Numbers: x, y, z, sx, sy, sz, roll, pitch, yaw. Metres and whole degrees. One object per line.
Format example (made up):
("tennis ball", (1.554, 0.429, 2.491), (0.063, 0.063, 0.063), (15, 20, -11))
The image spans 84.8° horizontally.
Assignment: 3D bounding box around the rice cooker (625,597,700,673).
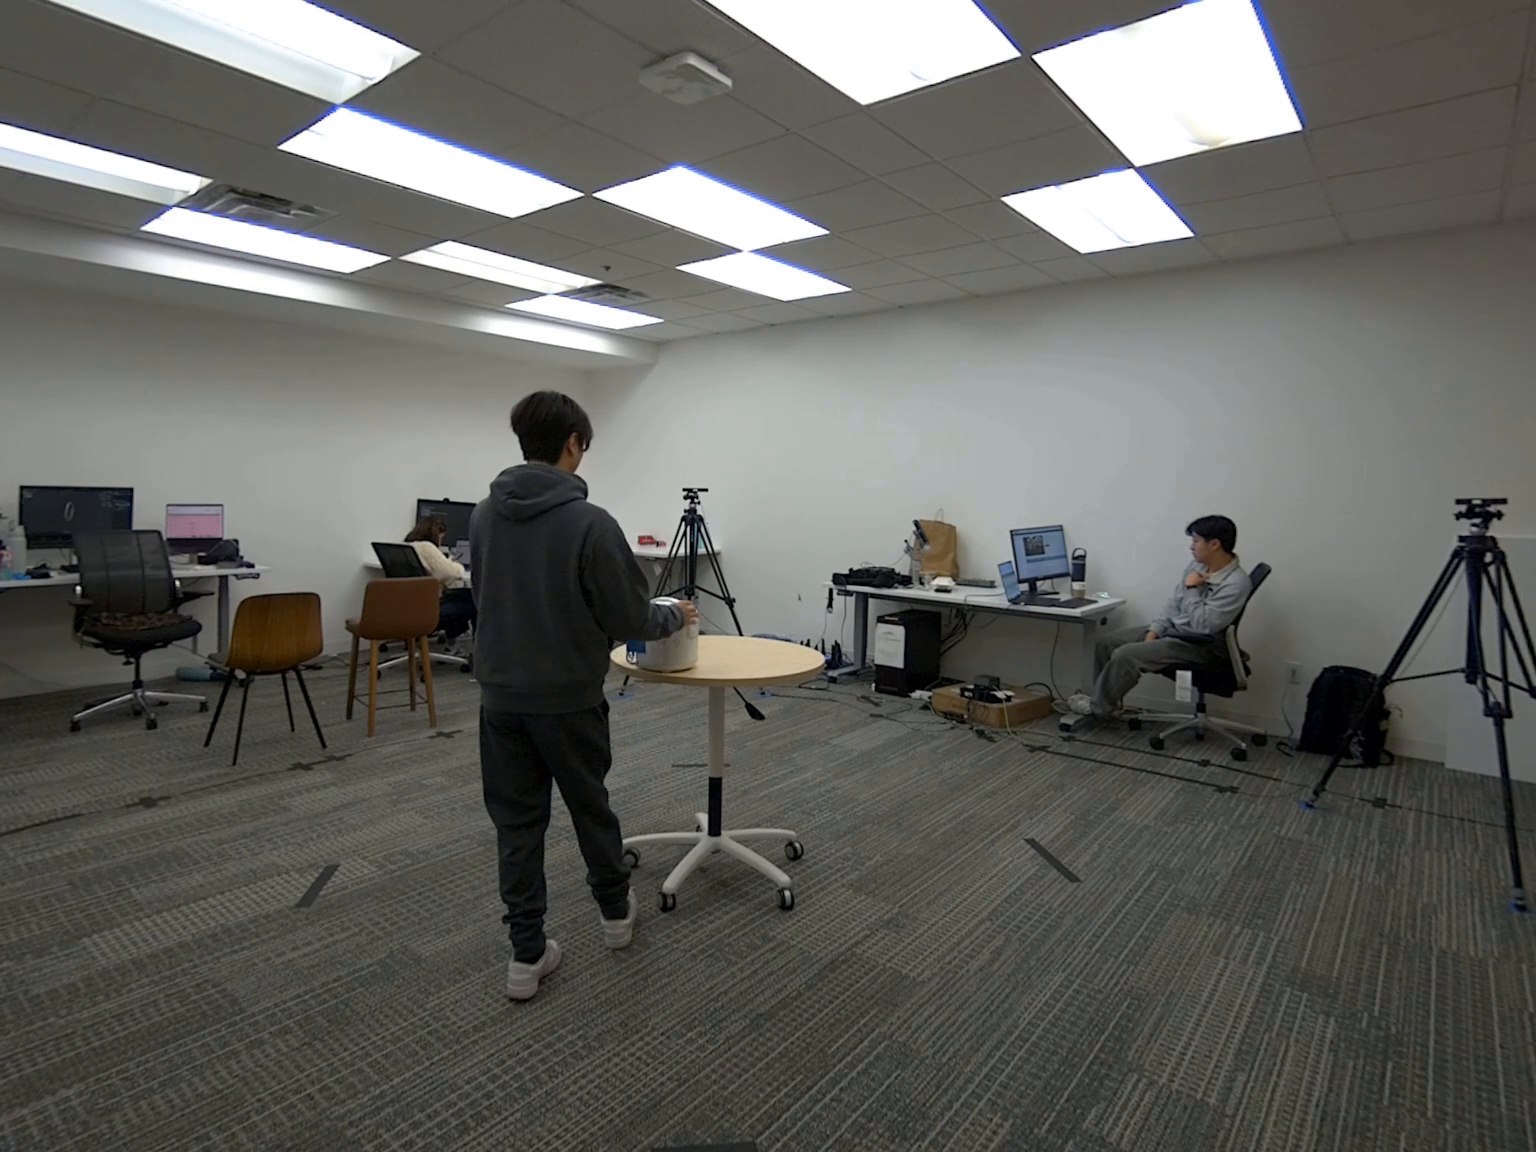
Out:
("rice cooker", (-0.343, 0.186, 2.823), (0.228, 0.231, 0.212), (5, 8, 34))
